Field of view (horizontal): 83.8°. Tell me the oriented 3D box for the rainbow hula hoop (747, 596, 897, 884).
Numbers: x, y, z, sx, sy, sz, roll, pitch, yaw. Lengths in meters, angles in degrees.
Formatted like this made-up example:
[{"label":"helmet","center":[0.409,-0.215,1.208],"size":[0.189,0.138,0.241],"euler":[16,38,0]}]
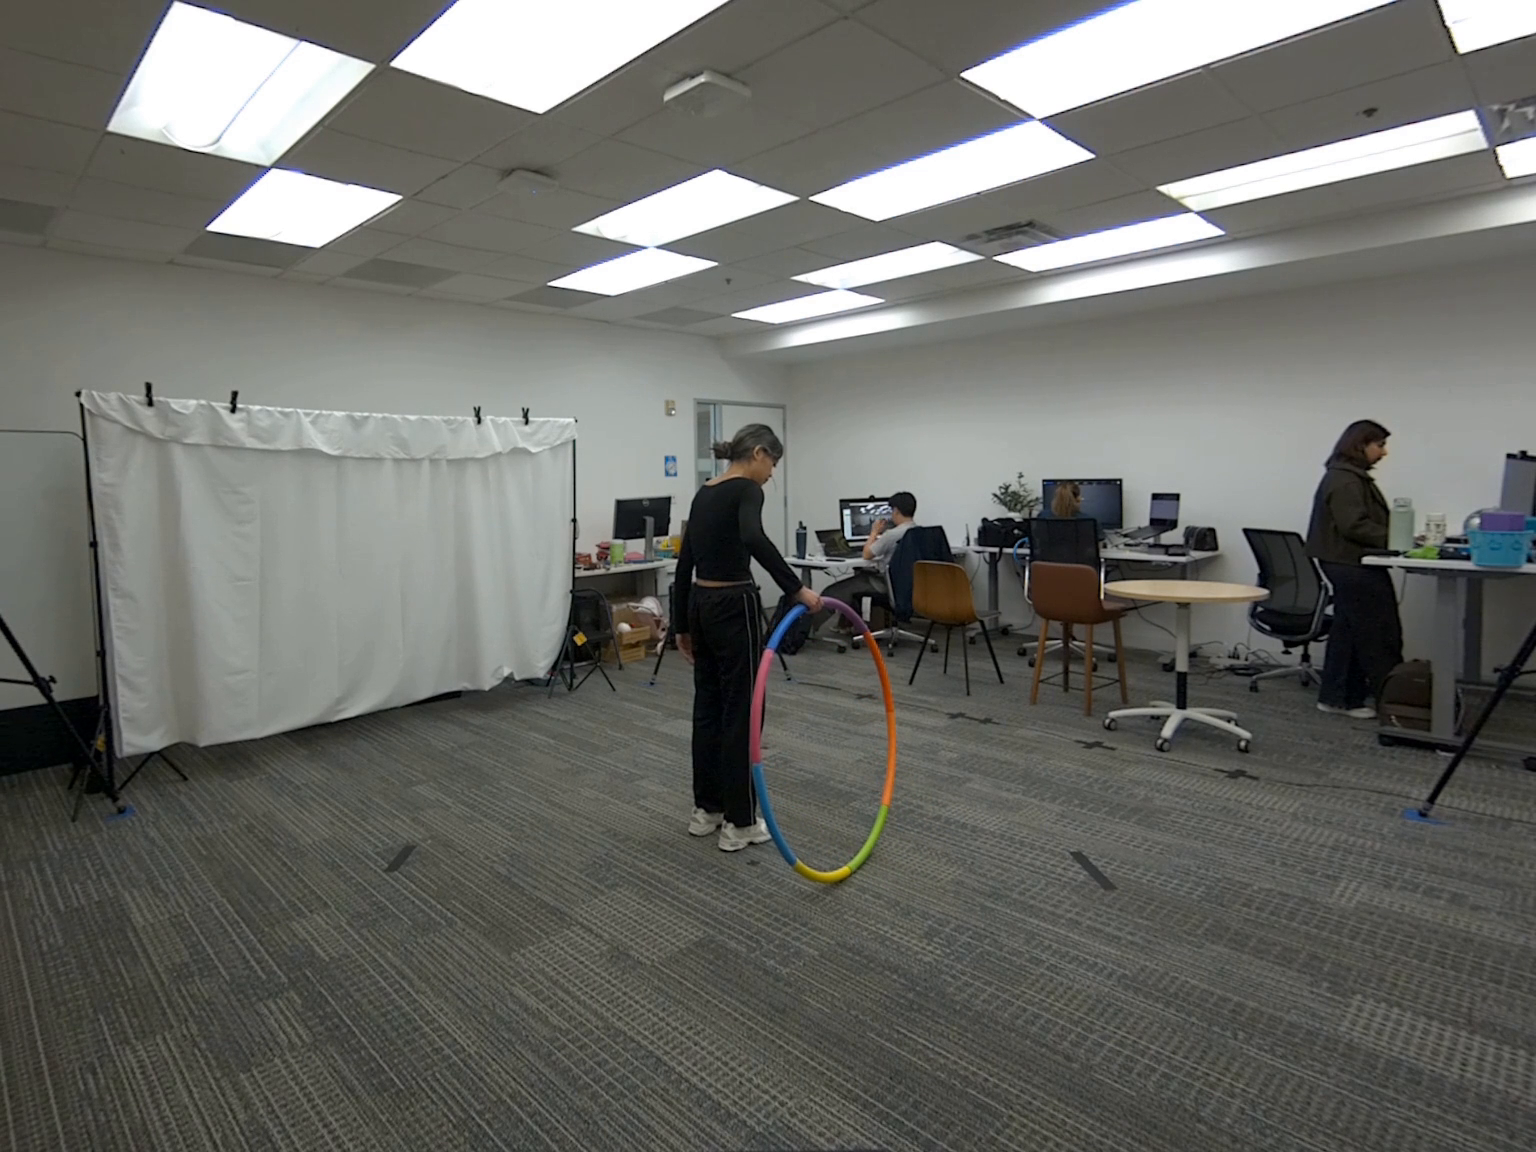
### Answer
[{"label":"rainbow hula hoop","center":[0.225,0.562,3.034],"size":[0.036,0.980,0.956],"euler":[-10,-1,33]}]
